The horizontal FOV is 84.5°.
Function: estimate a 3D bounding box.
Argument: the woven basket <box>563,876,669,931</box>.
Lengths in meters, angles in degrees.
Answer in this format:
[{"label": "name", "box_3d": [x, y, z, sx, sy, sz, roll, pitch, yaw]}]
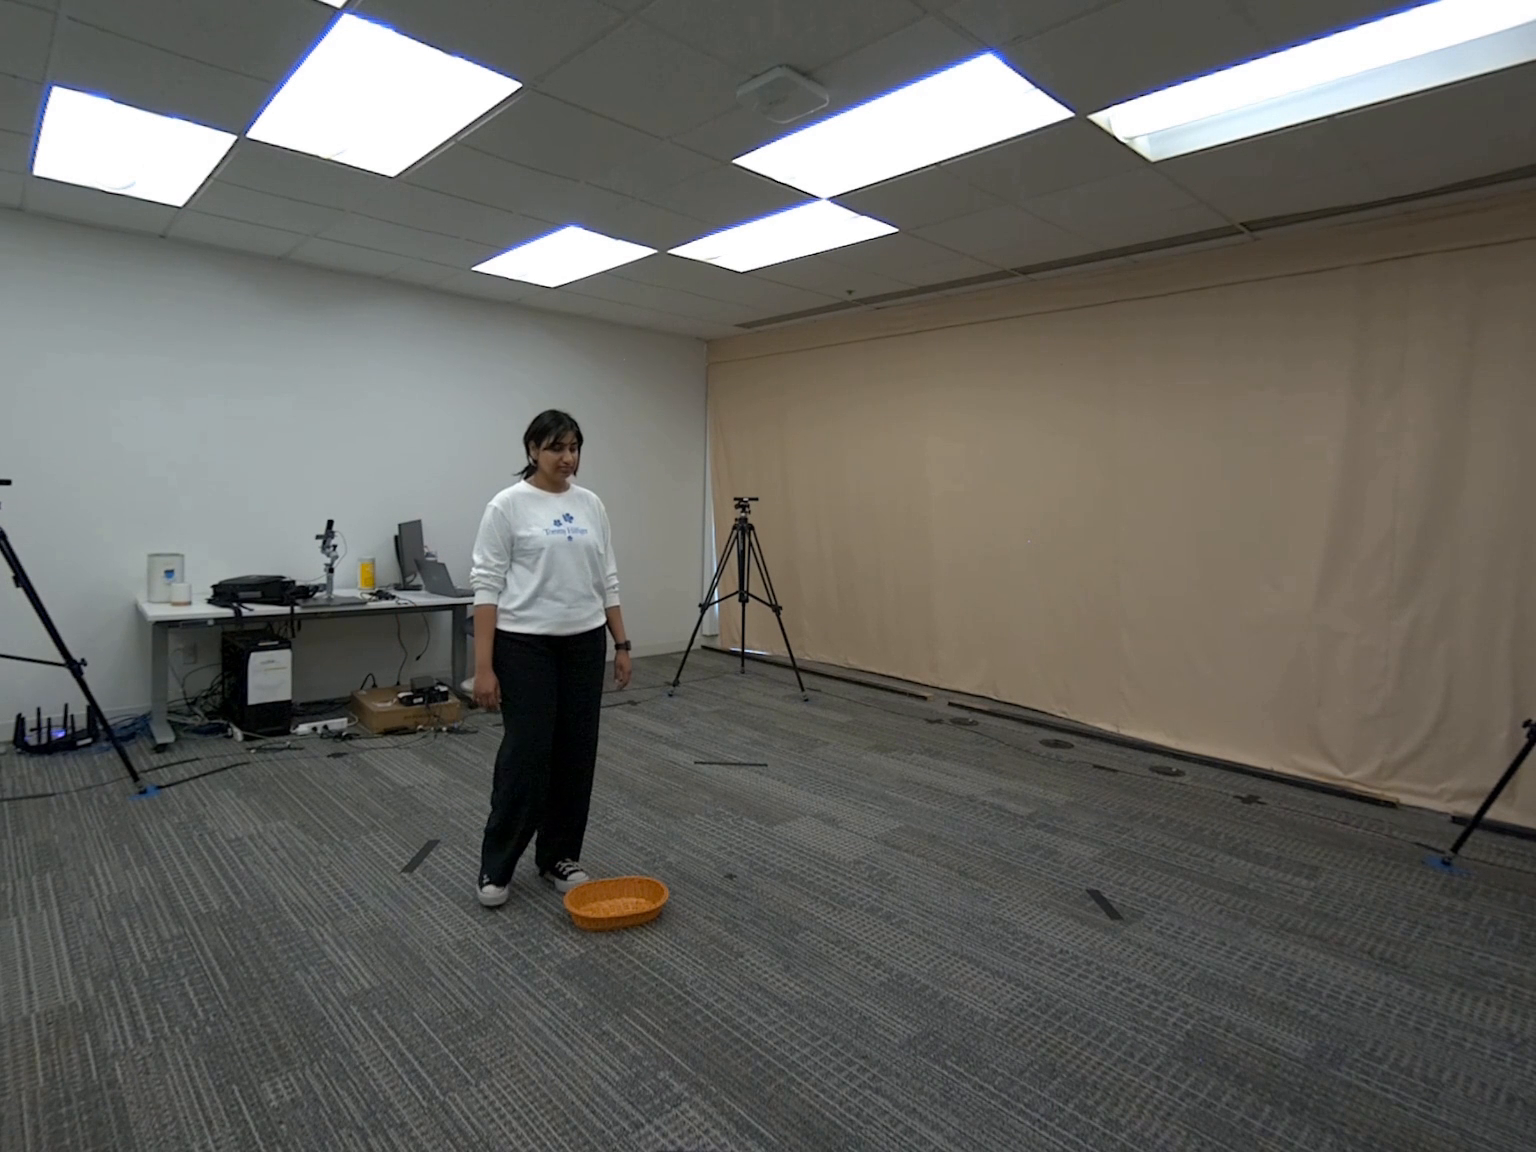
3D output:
[{"label": "woven basket", "box_3d": [-0.509, 1.091, 2.787, 0.346, 0.073, 0.256, 0, 6, -16]}]
